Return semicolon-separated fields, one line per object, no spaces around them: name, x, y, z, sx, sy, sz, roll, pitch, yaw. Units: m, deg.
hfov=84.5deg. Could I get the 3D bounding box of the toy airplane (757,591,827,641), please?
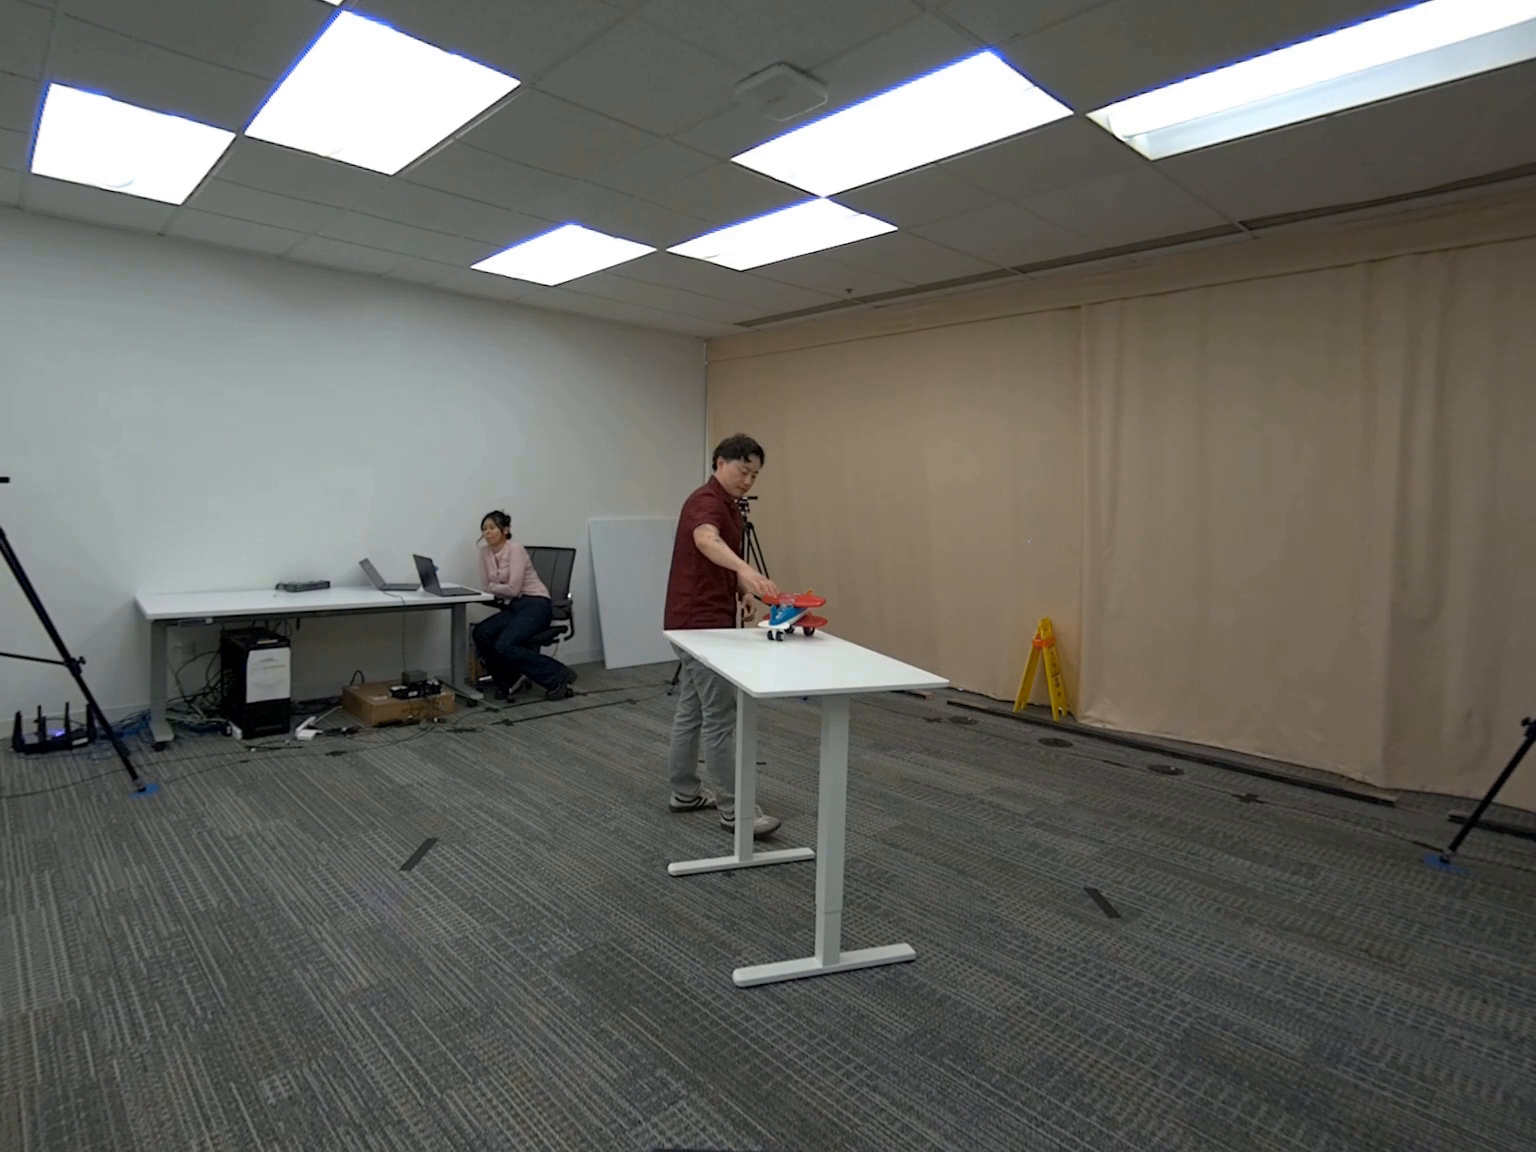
toy airplane;0.088;0.150;3.086;0.252;0.156;0.259;2;5;4
